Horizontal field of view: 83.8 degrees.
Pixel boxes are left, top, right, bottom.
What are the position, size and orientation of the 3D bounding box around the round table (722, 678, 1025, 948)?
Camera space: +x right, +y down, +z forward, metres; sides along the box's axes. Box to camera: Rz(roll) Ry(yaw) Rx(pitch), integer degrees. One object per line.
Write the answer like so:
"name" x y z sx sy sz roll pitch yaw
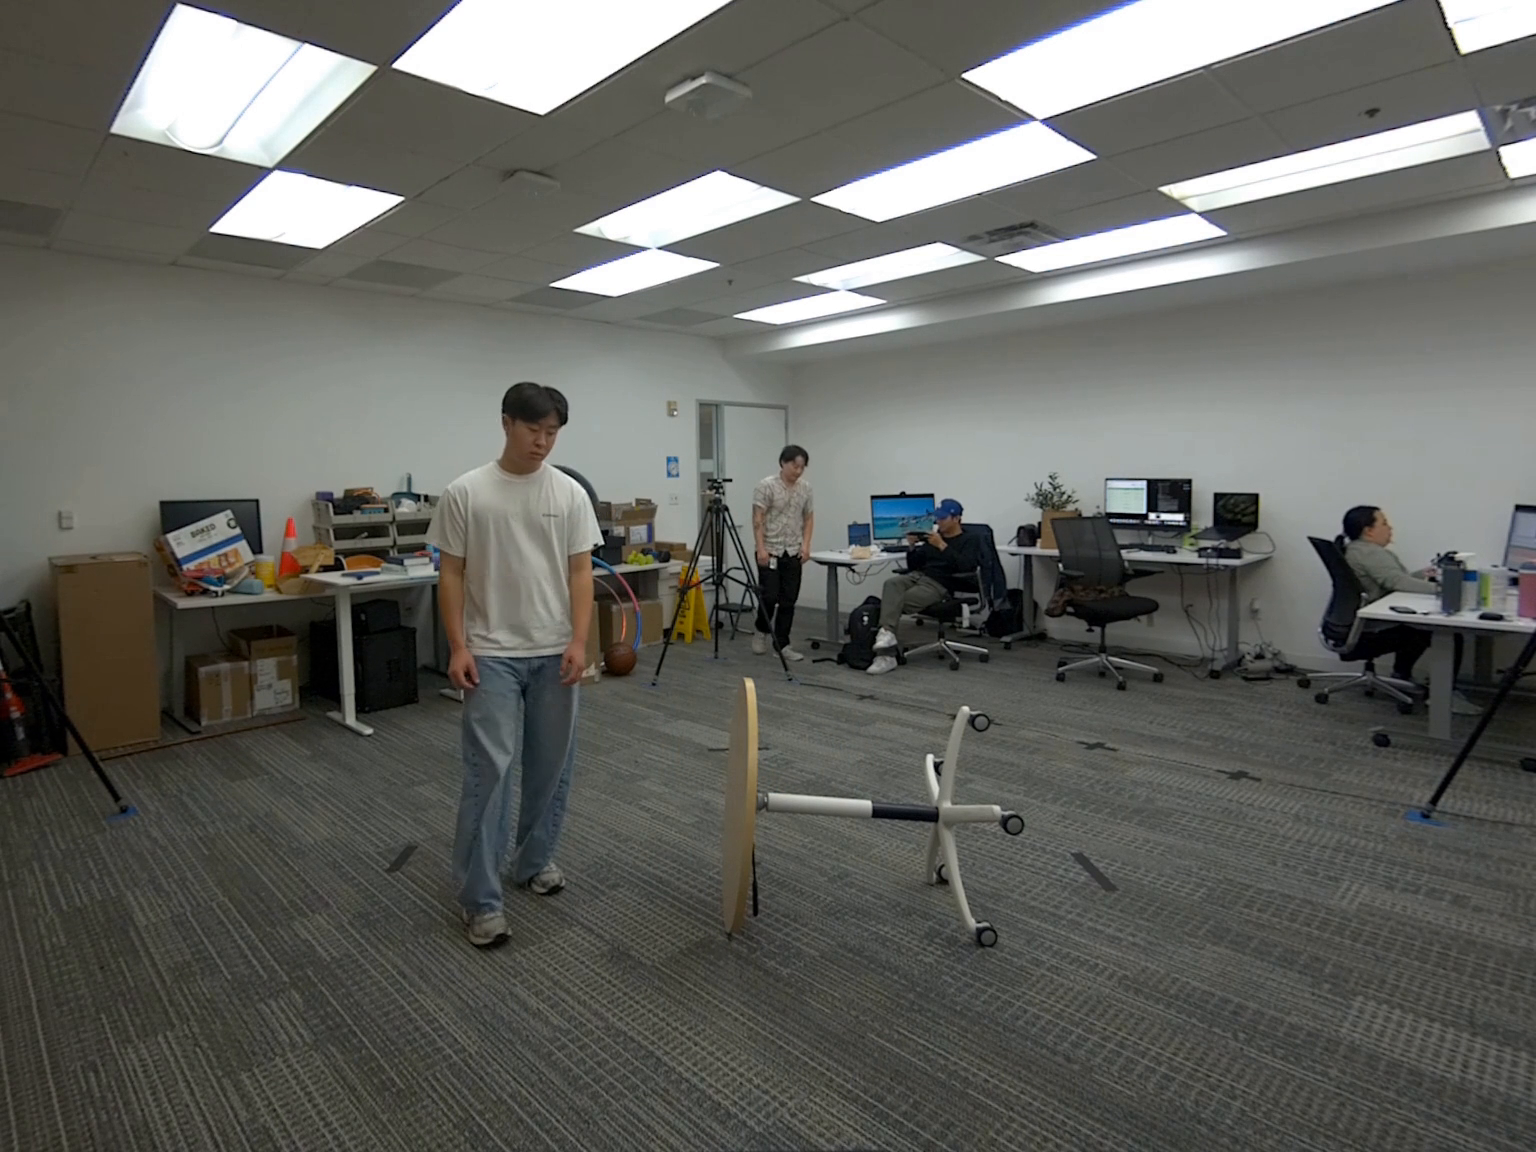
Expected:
"round table" 0.286 0.733 2.734 0.783 0.783 0.791 5 4 -5
